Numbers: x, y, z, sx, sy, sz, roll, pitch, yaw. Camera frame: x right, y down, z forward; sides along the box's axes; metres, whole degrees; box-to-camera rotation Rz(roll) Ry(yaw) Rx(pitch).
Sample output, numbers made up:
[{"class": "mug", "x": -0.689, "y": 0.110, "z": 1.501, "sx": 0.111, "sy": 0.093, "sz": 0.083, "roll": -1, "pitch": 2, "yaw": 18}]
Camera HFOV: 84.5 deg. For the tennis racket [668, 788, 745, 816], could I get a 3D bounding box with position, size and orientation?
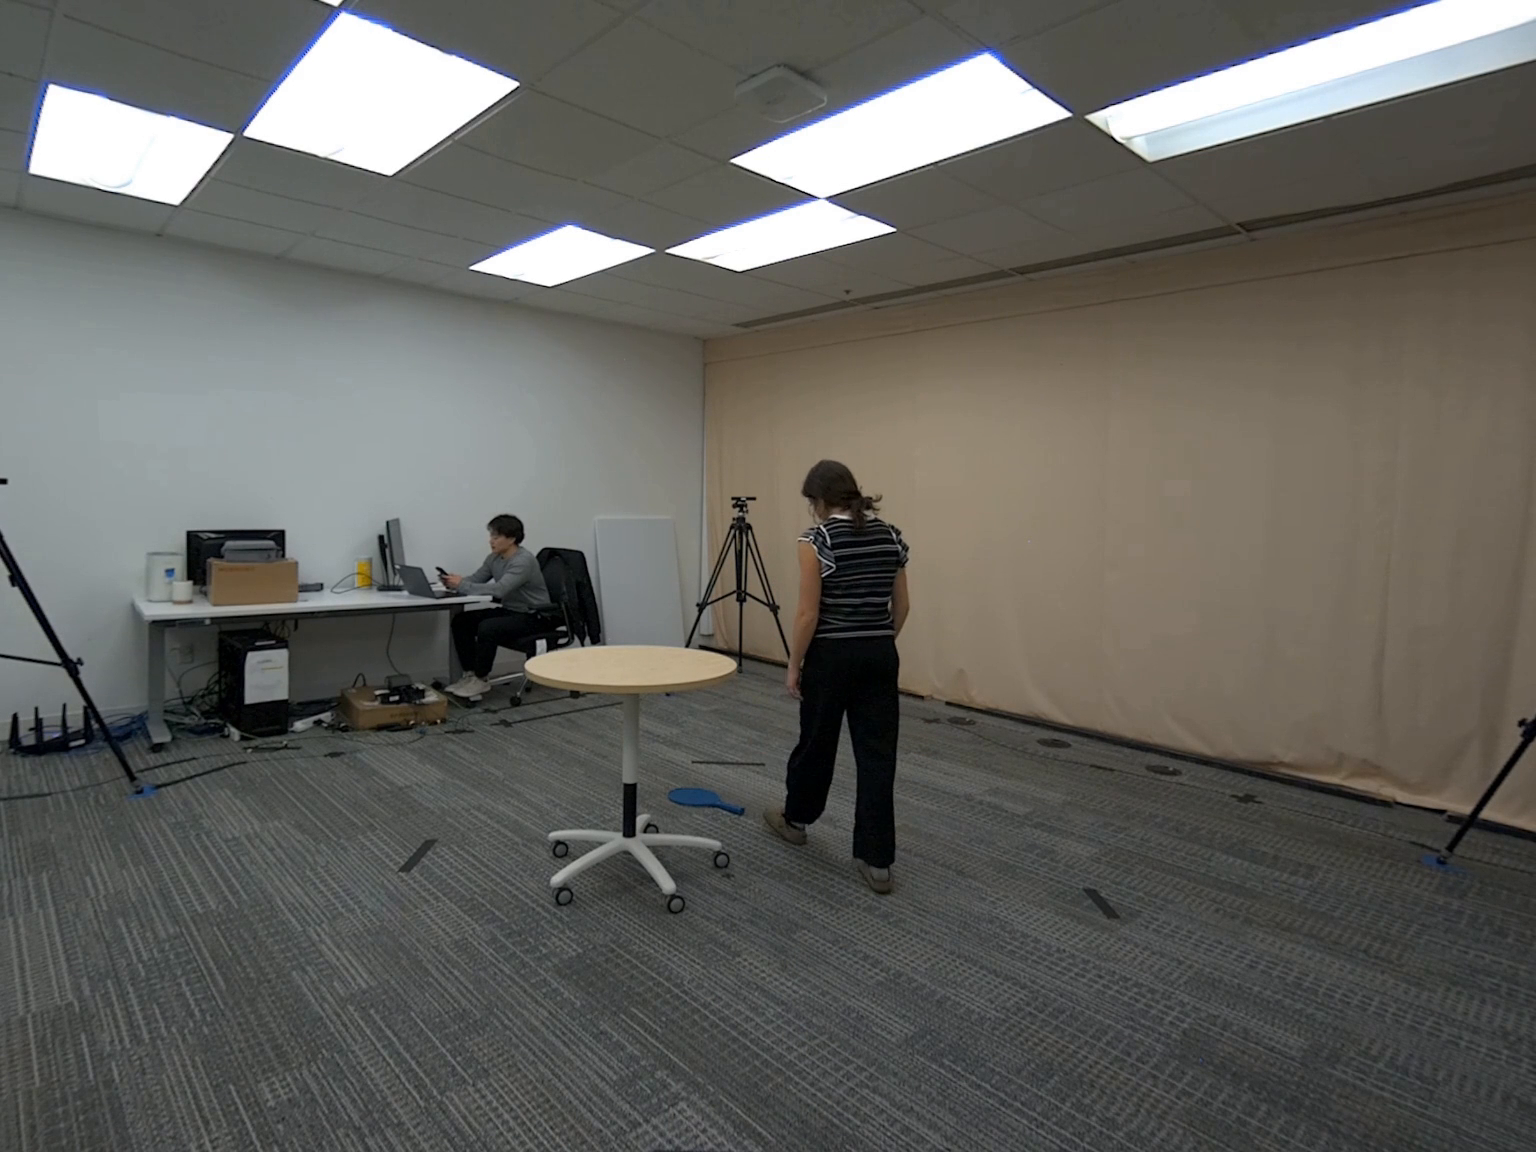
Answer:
[{"class": "tennis racket", "x": -0.290, "y": 1.028, "z": 3.856, "sx": 0.443, "sy": 0.032, "sz": 0.209, "roll": 4, "pitch": 5, "yaw": 39}]
